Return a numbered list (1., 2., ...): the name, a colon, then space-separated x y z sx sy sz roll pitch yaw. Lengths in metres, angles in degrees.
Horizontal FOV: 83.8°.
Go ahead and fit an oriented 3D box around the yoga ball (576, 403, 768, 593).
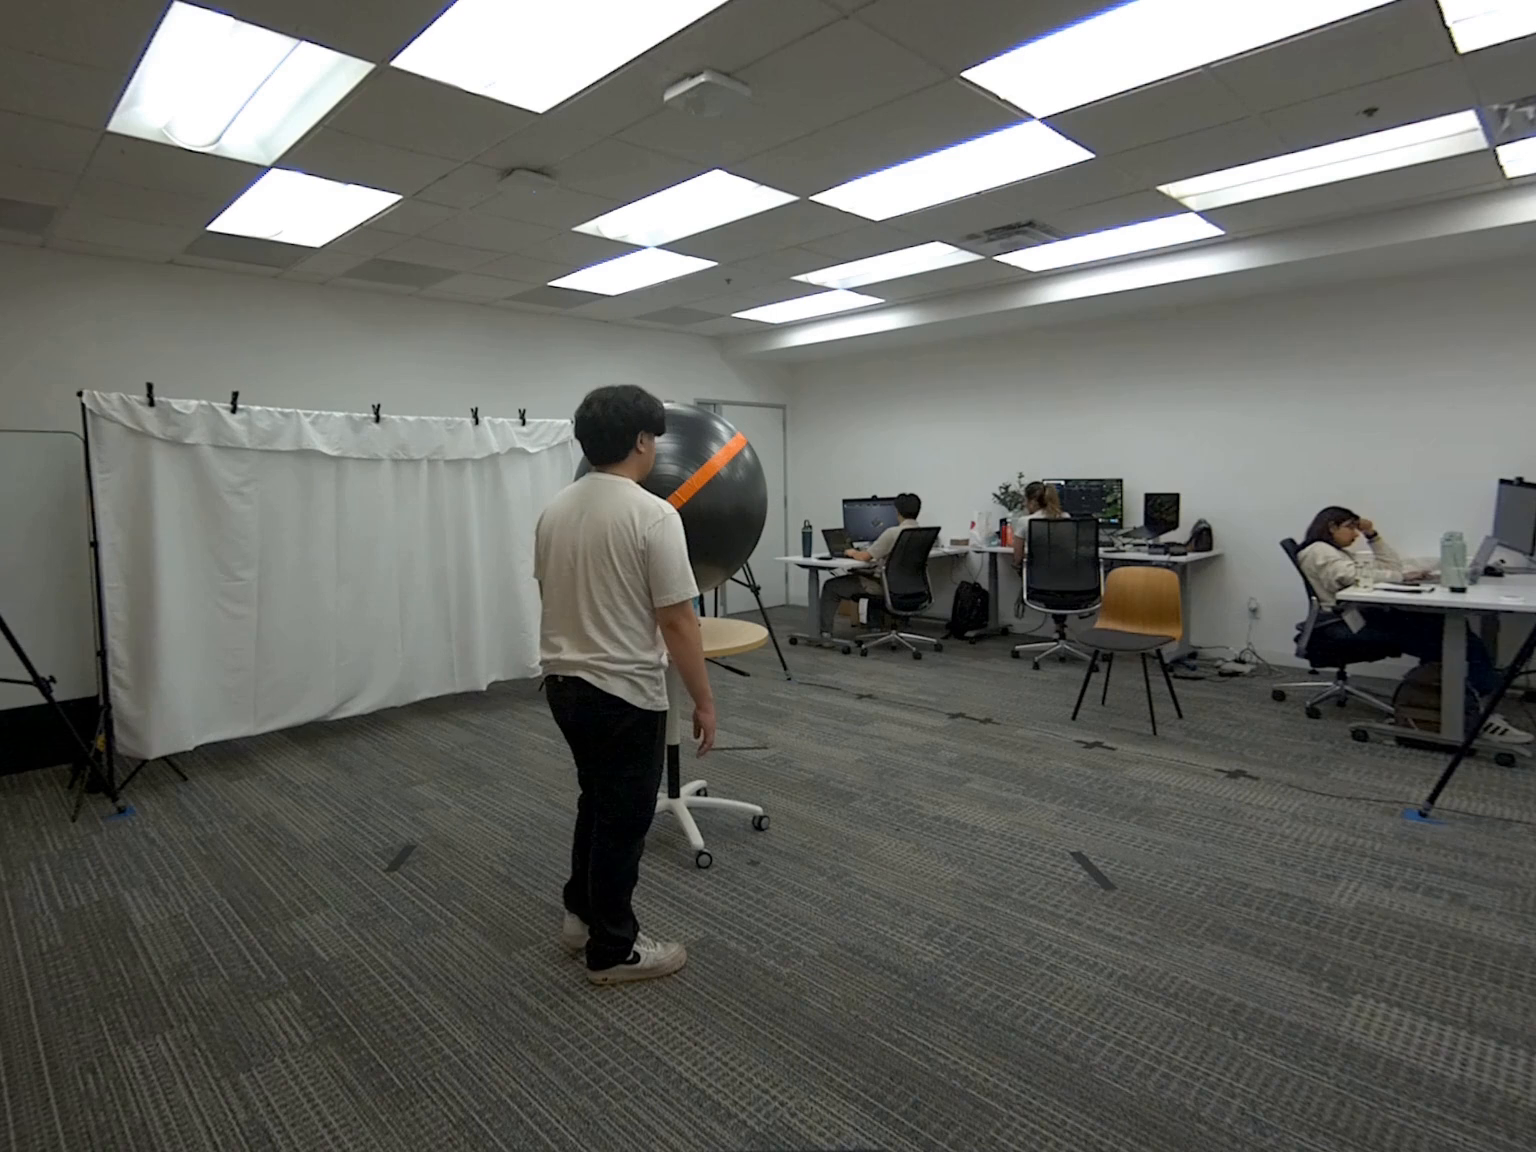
1. yoga ball: -0.380 -0.283 3.326 0.757 0.755 0.762 -1 5 -2
